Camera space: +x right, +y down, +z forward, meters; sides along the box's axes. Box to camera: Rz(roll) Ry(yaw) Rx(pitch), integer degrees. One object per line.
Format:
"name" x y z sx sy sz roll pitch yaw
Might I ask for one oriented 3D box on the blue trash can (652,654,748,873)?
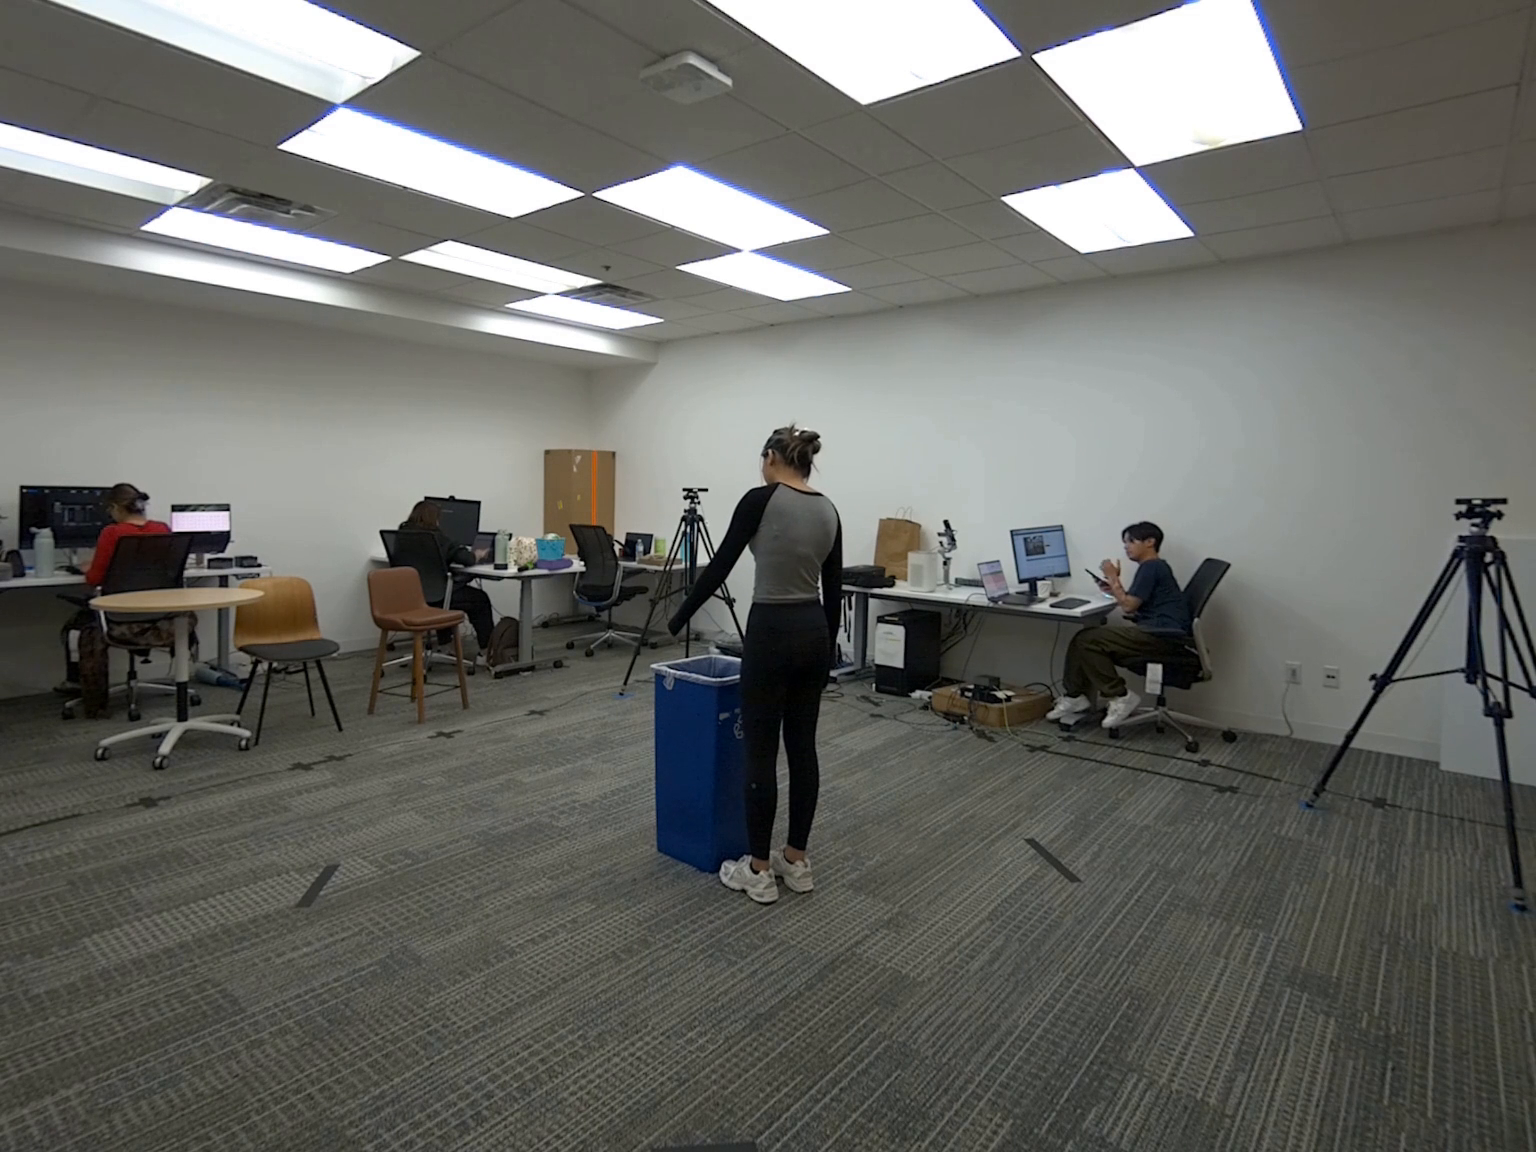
"blue trash can" -0.223 0.696 3.268 0.391 0.711 0.363 4 4 41
